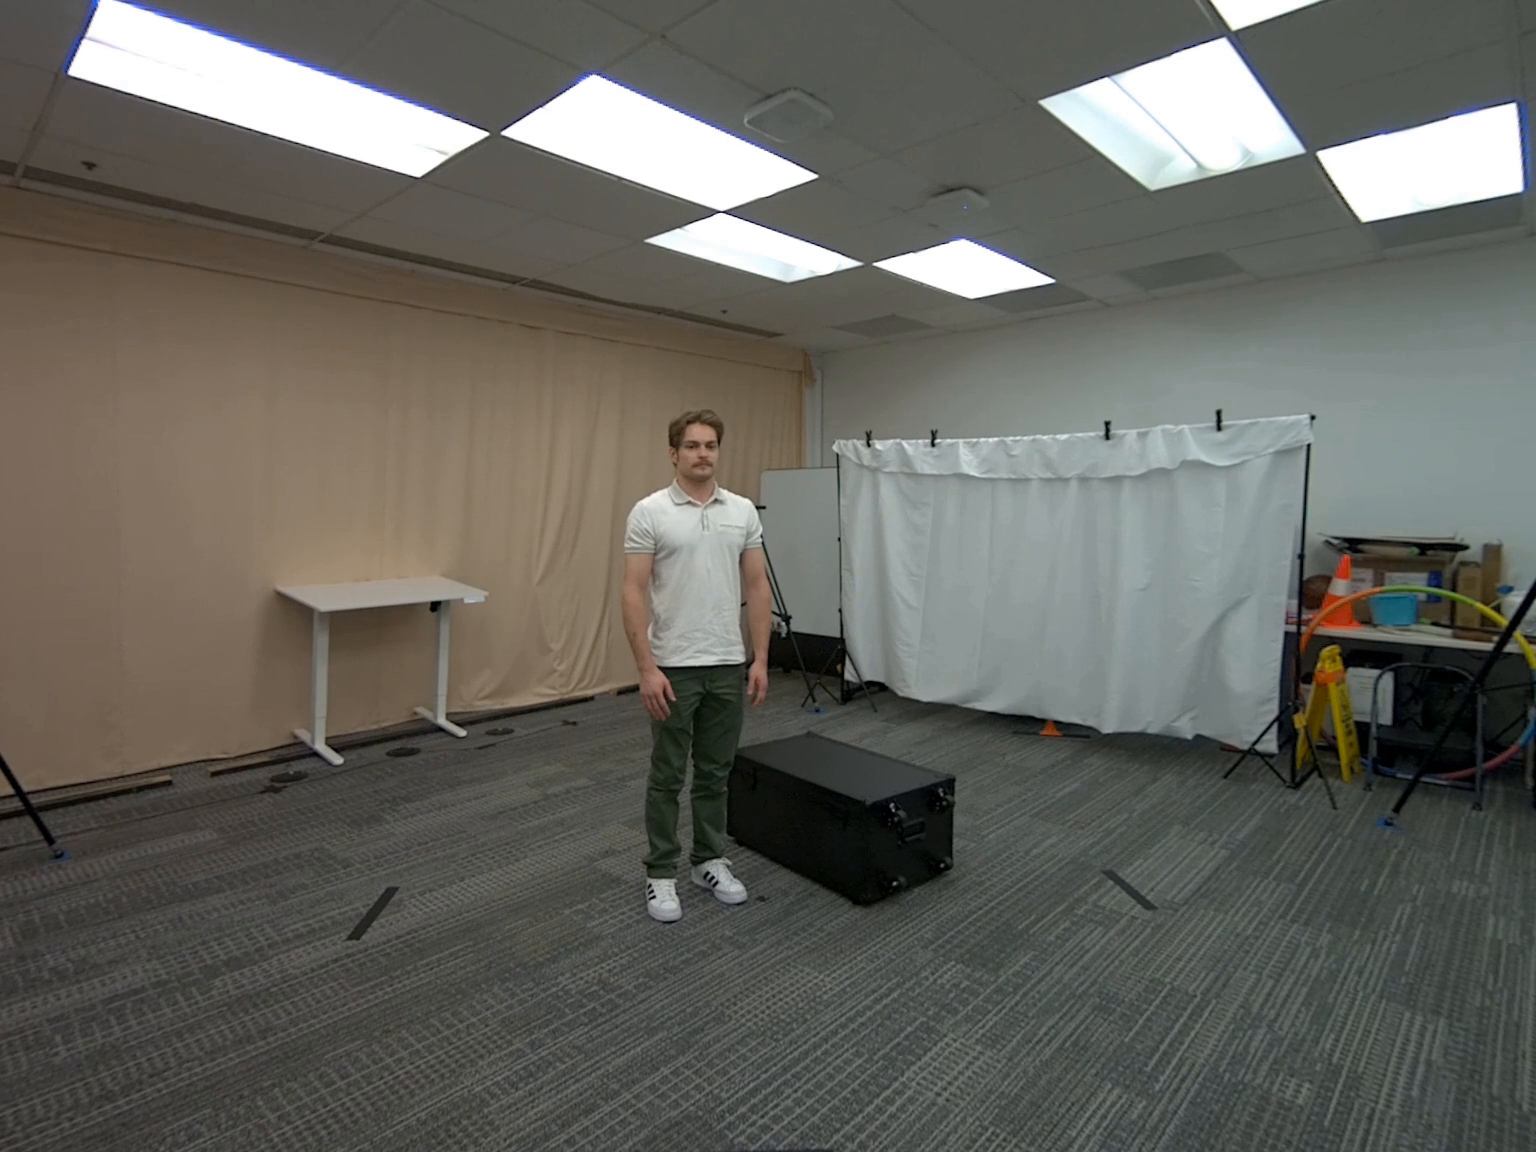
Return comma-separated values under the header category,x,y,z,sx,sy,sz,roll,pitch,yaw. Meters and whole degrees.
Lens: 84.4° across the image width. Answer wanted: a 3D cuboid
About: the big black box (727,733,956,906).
category,x,y,z,sx,sy,sz,roll,pitch,yaw
big black box,0.284,0.919,3.299,0.507,0.384,0.897,-1,4,-39
